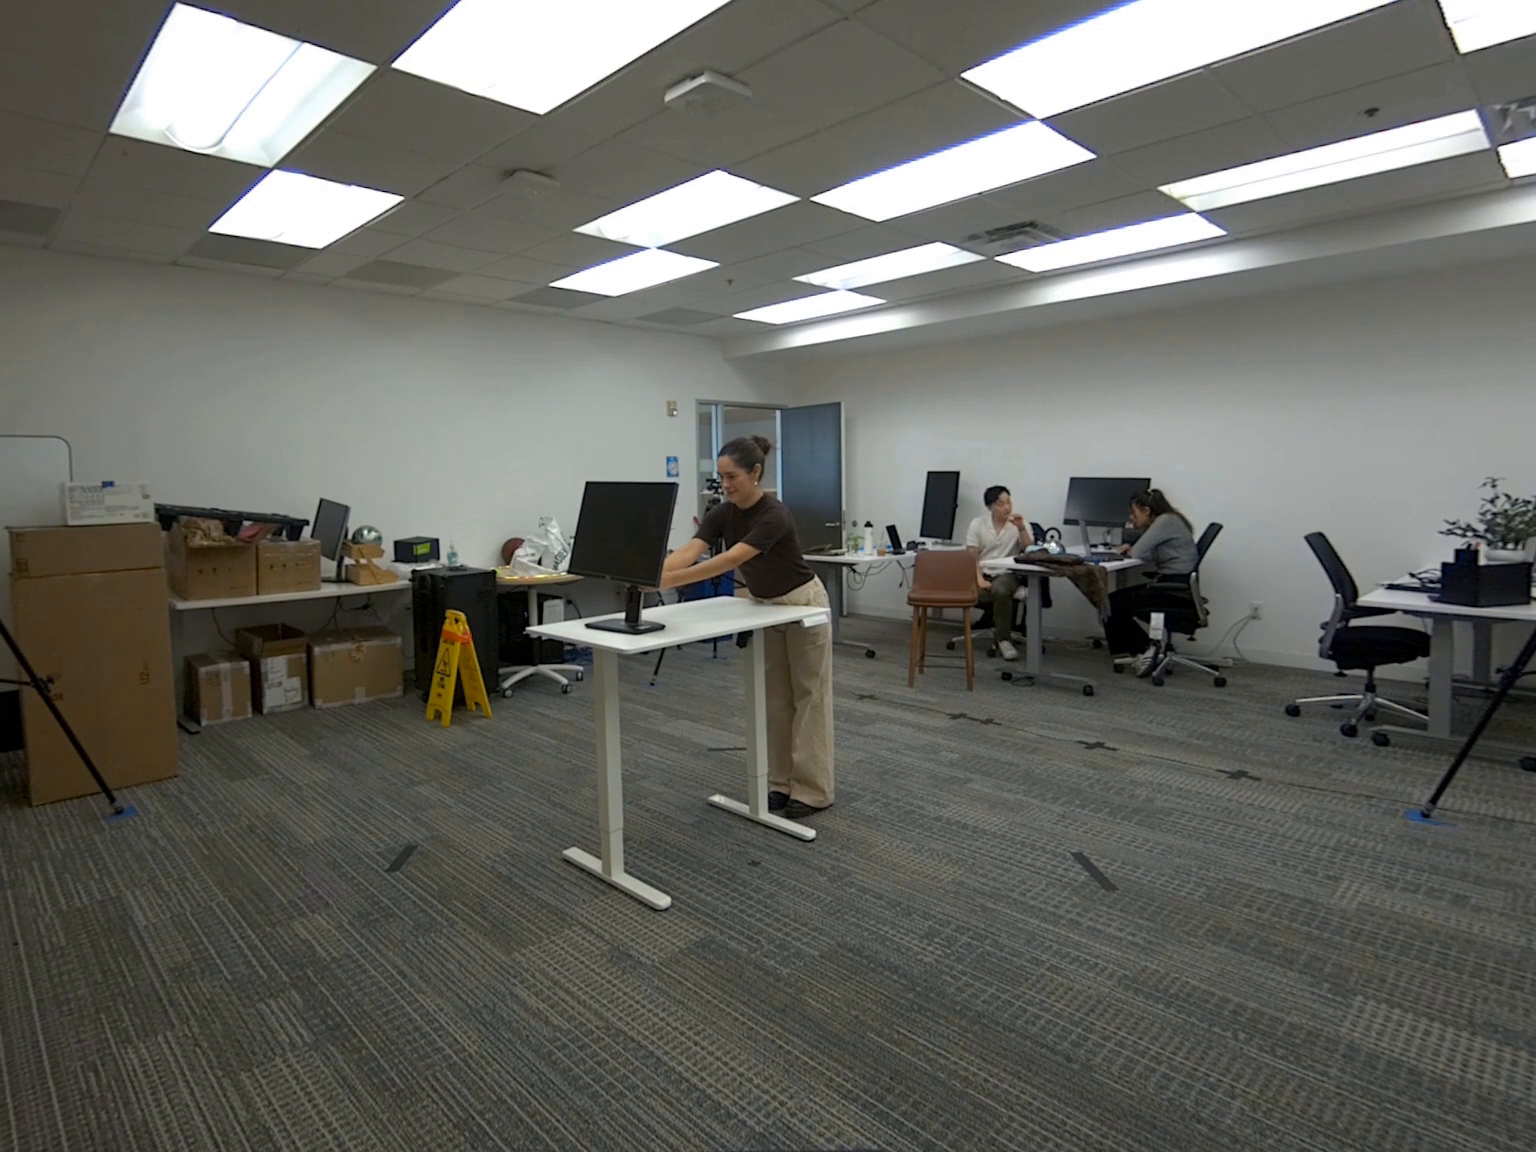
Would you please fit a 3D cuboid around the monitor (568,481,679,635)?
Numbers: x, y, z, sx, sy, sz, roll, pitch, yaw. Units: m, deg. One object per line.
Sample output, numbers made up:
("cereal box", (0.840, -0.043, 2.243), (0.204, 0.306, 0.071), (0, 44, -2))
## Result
("monitor", (-0.498, -0.068, 2.999), (0.556, 0.521, 0.182), (5, 5, 44))
